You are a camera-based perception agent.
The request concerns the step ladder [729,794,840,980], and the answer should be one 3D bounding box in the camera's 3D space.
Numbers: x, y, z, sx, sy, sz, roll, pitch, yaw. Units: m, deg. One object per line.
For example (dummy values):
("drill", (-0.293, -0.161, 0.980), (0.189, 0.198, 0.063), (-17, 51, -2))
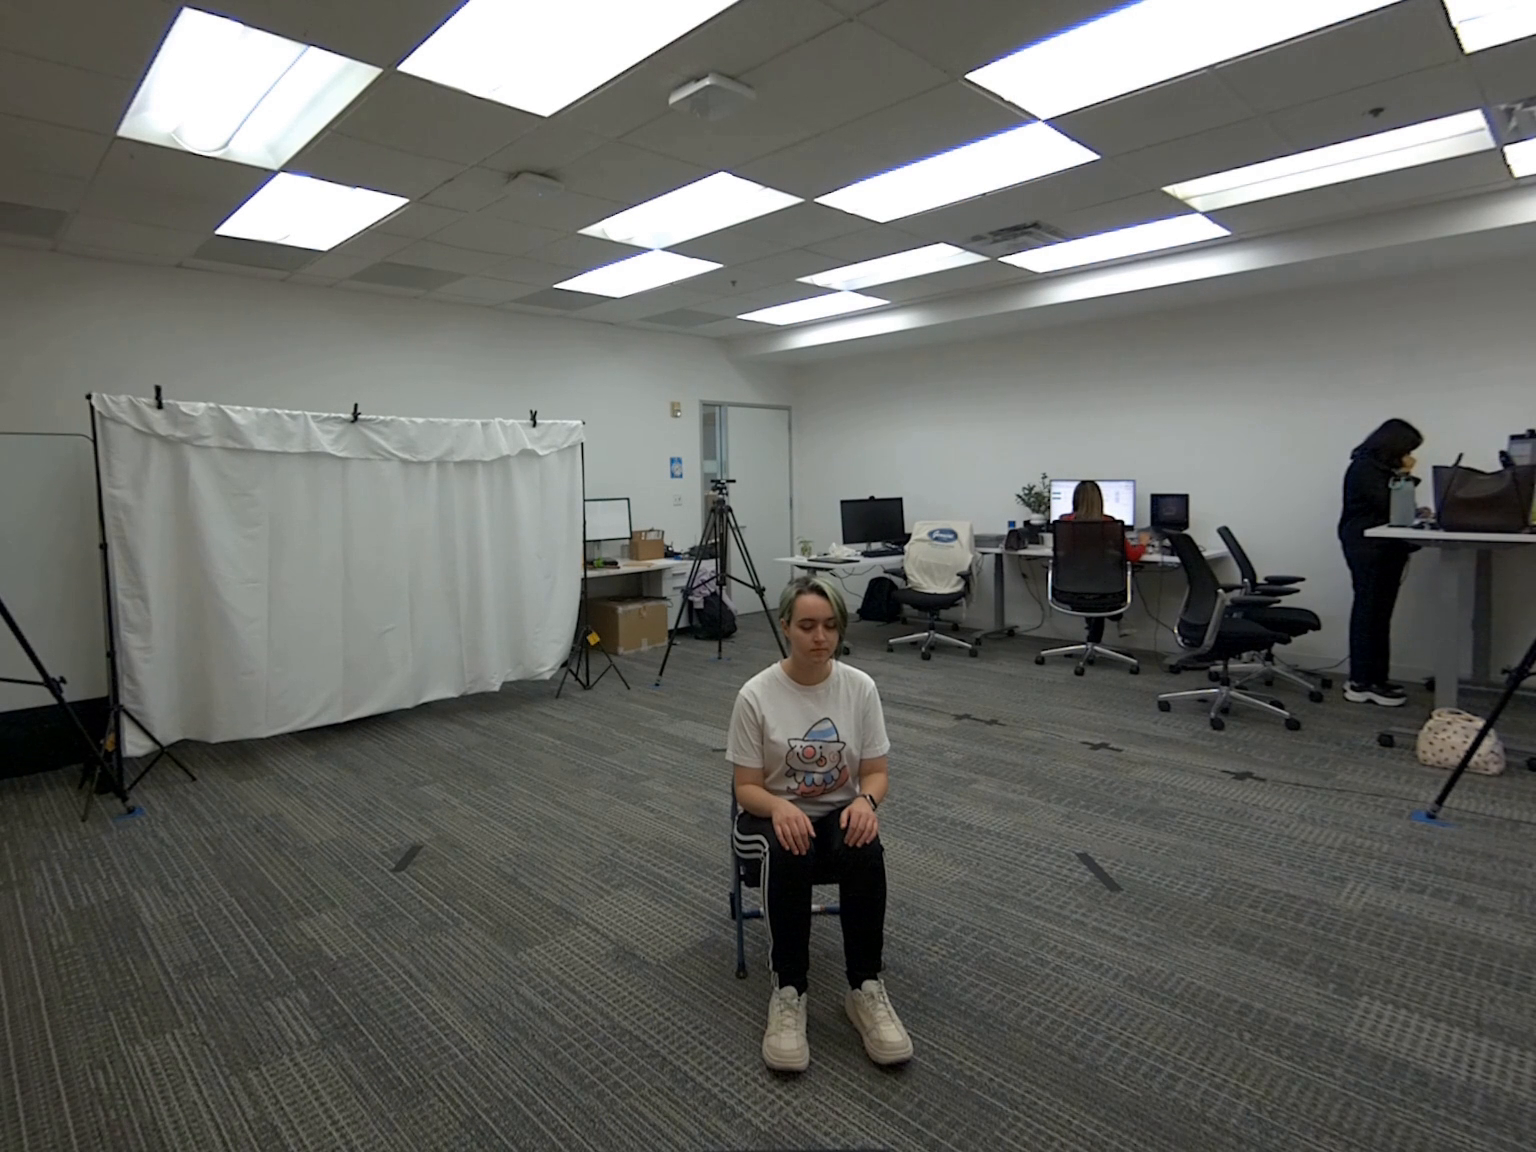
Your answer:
("step ladder", (0.107, 0.811, 2.567), (0.429, 0.603, 0.353), (-2, 5, -5))
